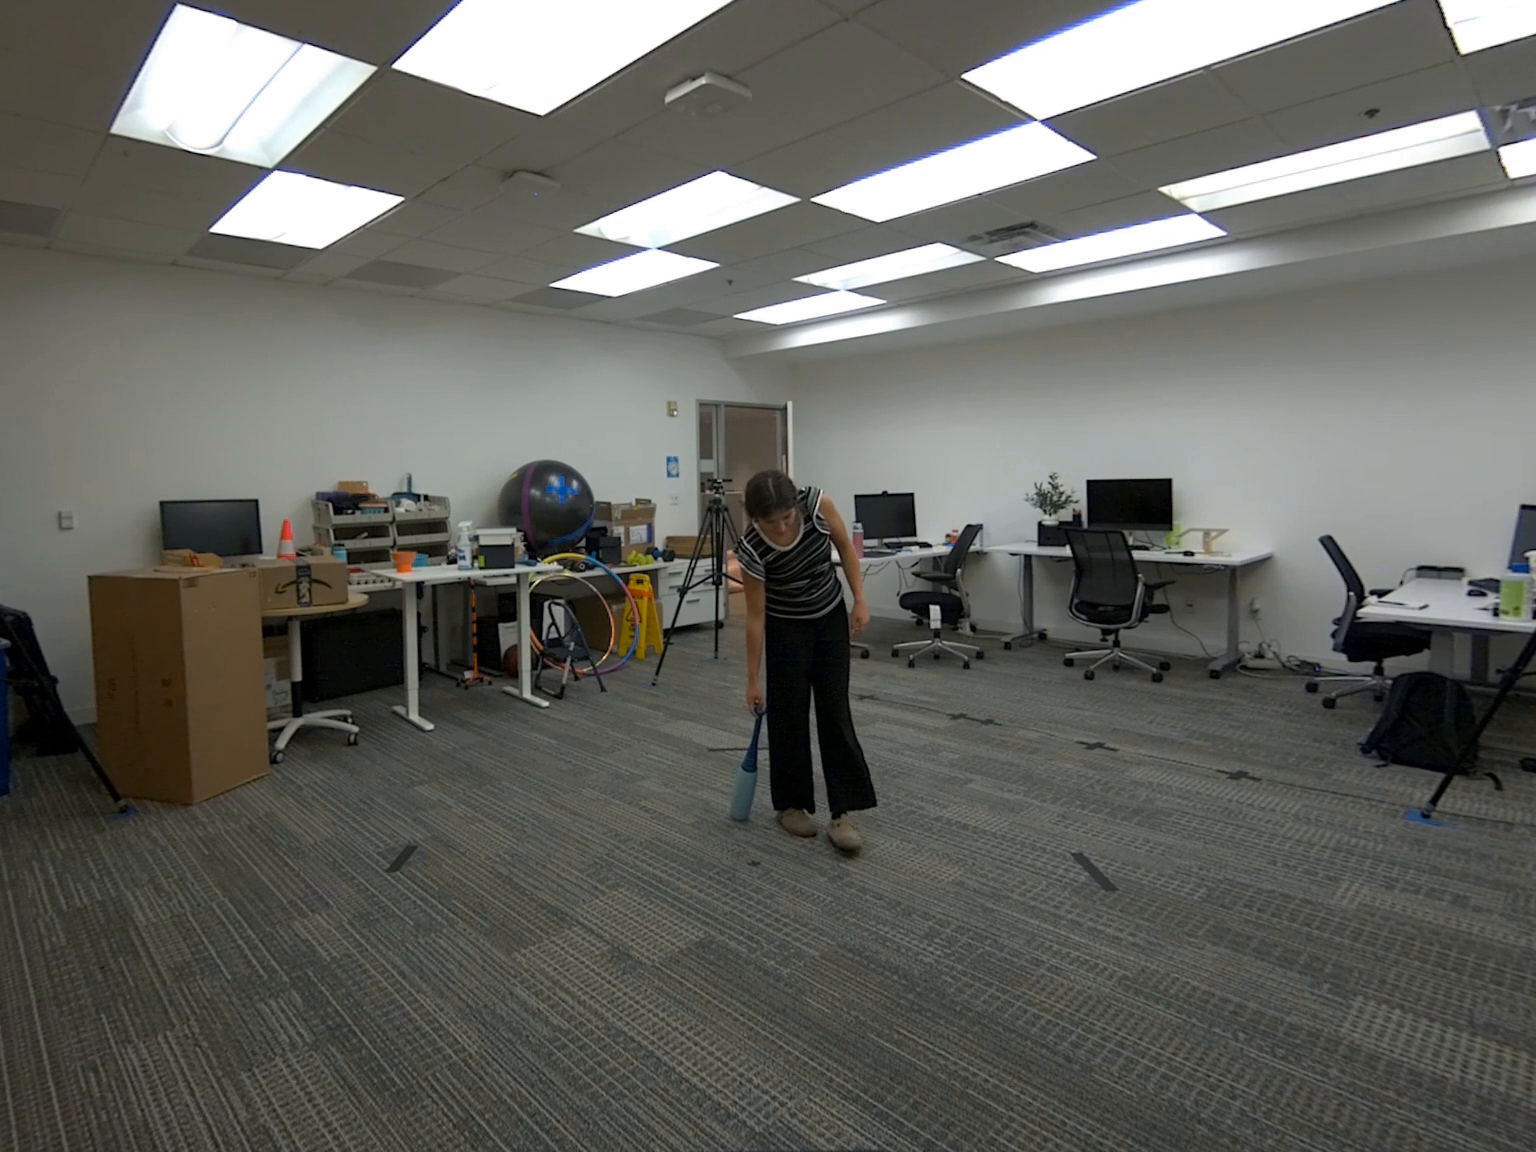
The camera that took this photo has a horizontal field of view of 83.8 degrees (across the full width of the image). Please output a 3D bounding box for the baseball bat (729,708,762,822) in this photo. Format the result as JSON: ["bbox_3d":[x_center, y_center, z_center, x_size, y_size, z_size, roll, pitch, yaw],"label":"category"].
[{"bbox_3d":[-0.066,0.756,3.428,0.088,0.534,0.091,9,24,-6],"label":"baseball bat"}]
